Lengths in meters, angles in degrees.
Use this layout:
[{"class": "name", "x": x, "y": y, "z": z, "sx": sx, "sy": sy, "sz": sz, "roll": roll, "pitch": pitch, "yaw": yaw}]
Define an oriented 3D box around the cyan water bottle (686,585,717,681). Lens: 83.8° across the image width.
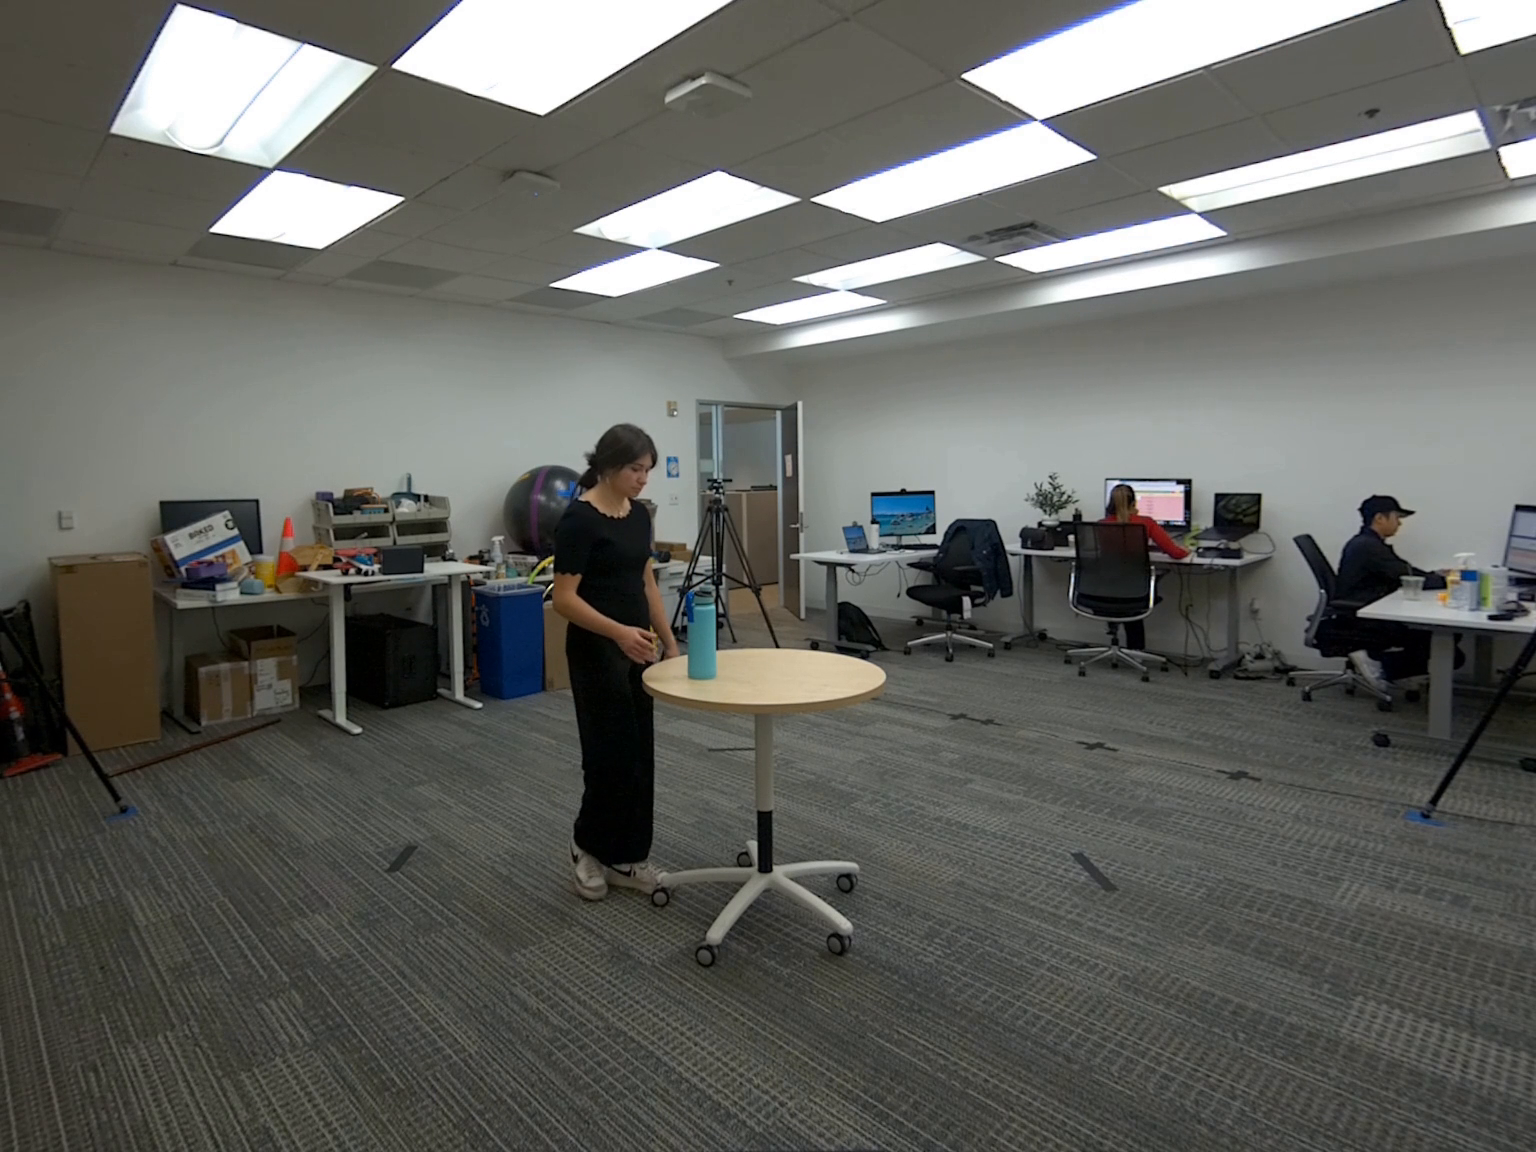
[{"class": "cyan water bottle", "x": -0.210, "y": 0.174, "z": 2.654, "sx": 0.092, "sy": 0.283, "sz": 0.092, "roll": -3, "pitch": 1, "yaw": -2}]
